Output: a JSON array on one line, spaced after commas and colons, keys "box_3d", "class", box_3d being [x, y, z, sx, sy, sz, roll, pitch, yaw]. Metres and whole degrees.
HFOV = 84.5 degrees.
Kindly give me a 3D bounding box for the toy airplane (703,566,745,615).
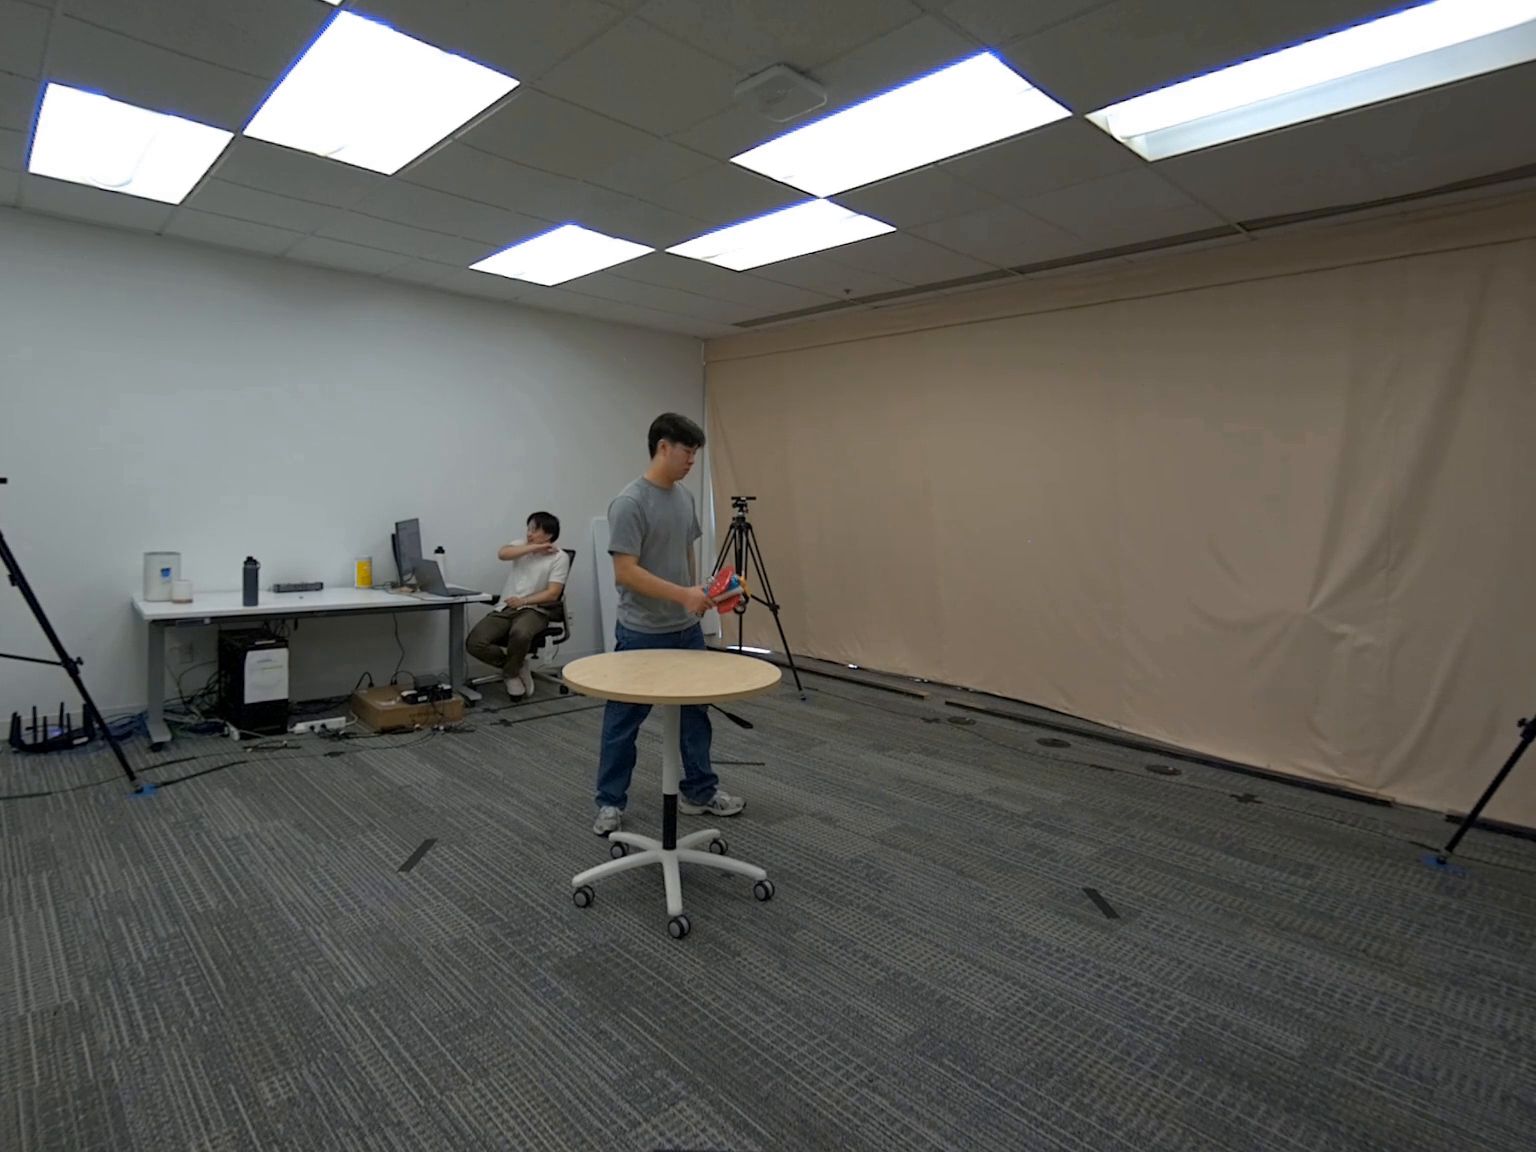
[{"box_3d": [-0.211, 0.084, 3.360, 0.258, 0.153, 0.256, -20, 22, -5], "class": "toy airplane"}]
